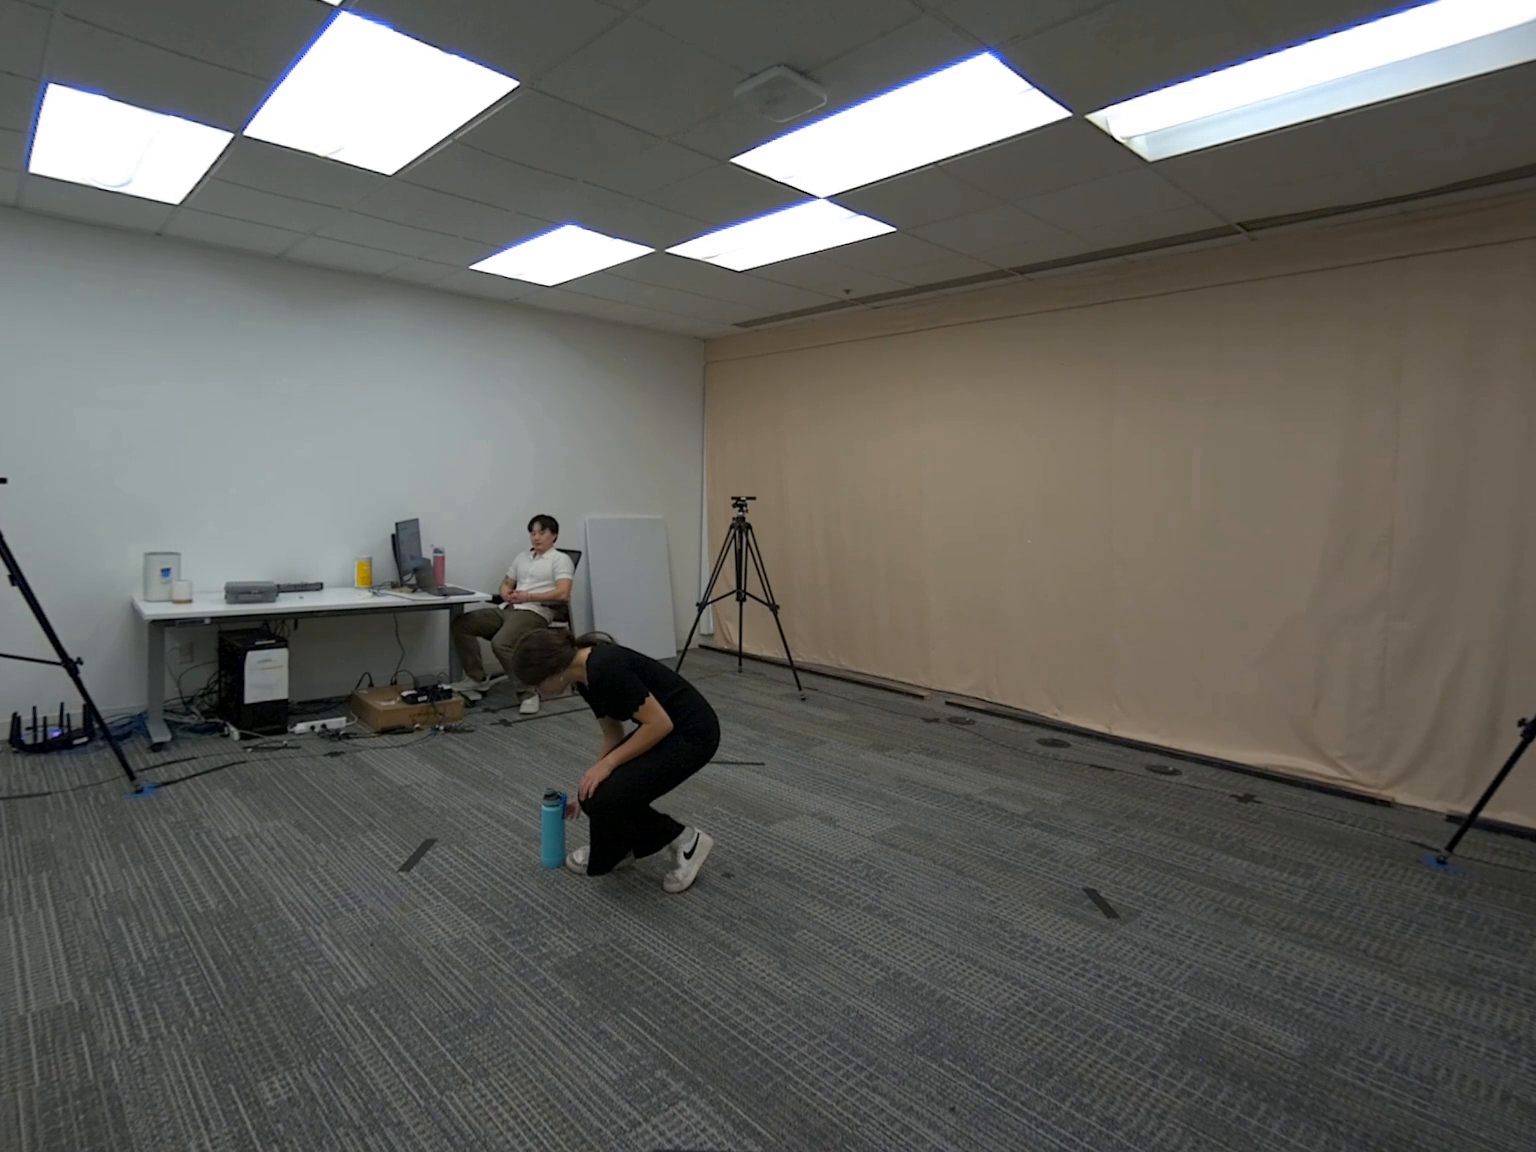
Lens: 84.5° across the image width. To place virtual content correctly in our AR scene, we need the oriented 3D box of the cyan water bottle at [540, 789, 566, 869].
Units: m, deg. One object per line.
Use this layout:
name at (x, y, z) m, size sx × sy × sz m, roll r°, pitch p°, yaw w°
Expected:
cyan water bottle at (-0.809, 0.940, 3.173) m, size 0.092 × 0.283 × 0.092 m, roll 2°, pitch 3°, yaw -2°
